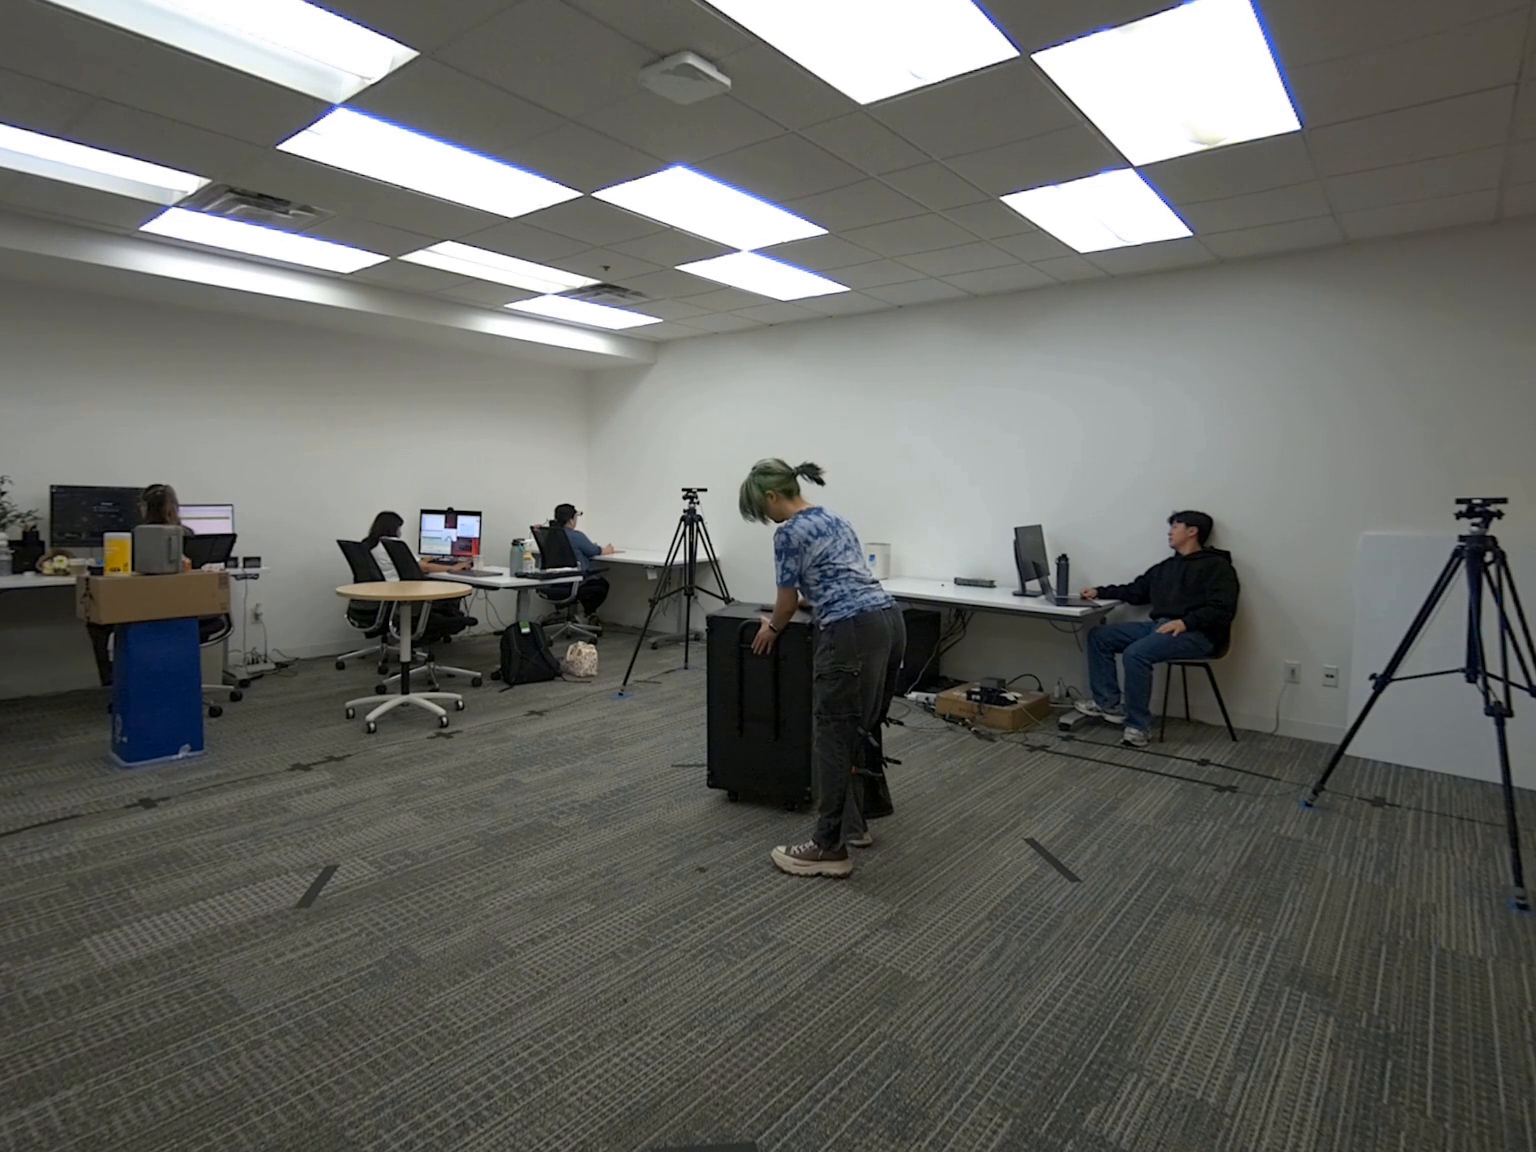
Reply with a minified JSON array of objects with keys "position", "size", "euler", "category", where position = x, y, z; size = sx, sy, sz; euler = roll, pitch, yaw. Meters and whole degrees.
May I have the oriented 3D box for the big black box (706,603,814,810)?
[{"position":[0.001,0.581,3.807],"size":[0.533,0.856,0.390],"euler":[3,7,20],"category":"big black box"}]
